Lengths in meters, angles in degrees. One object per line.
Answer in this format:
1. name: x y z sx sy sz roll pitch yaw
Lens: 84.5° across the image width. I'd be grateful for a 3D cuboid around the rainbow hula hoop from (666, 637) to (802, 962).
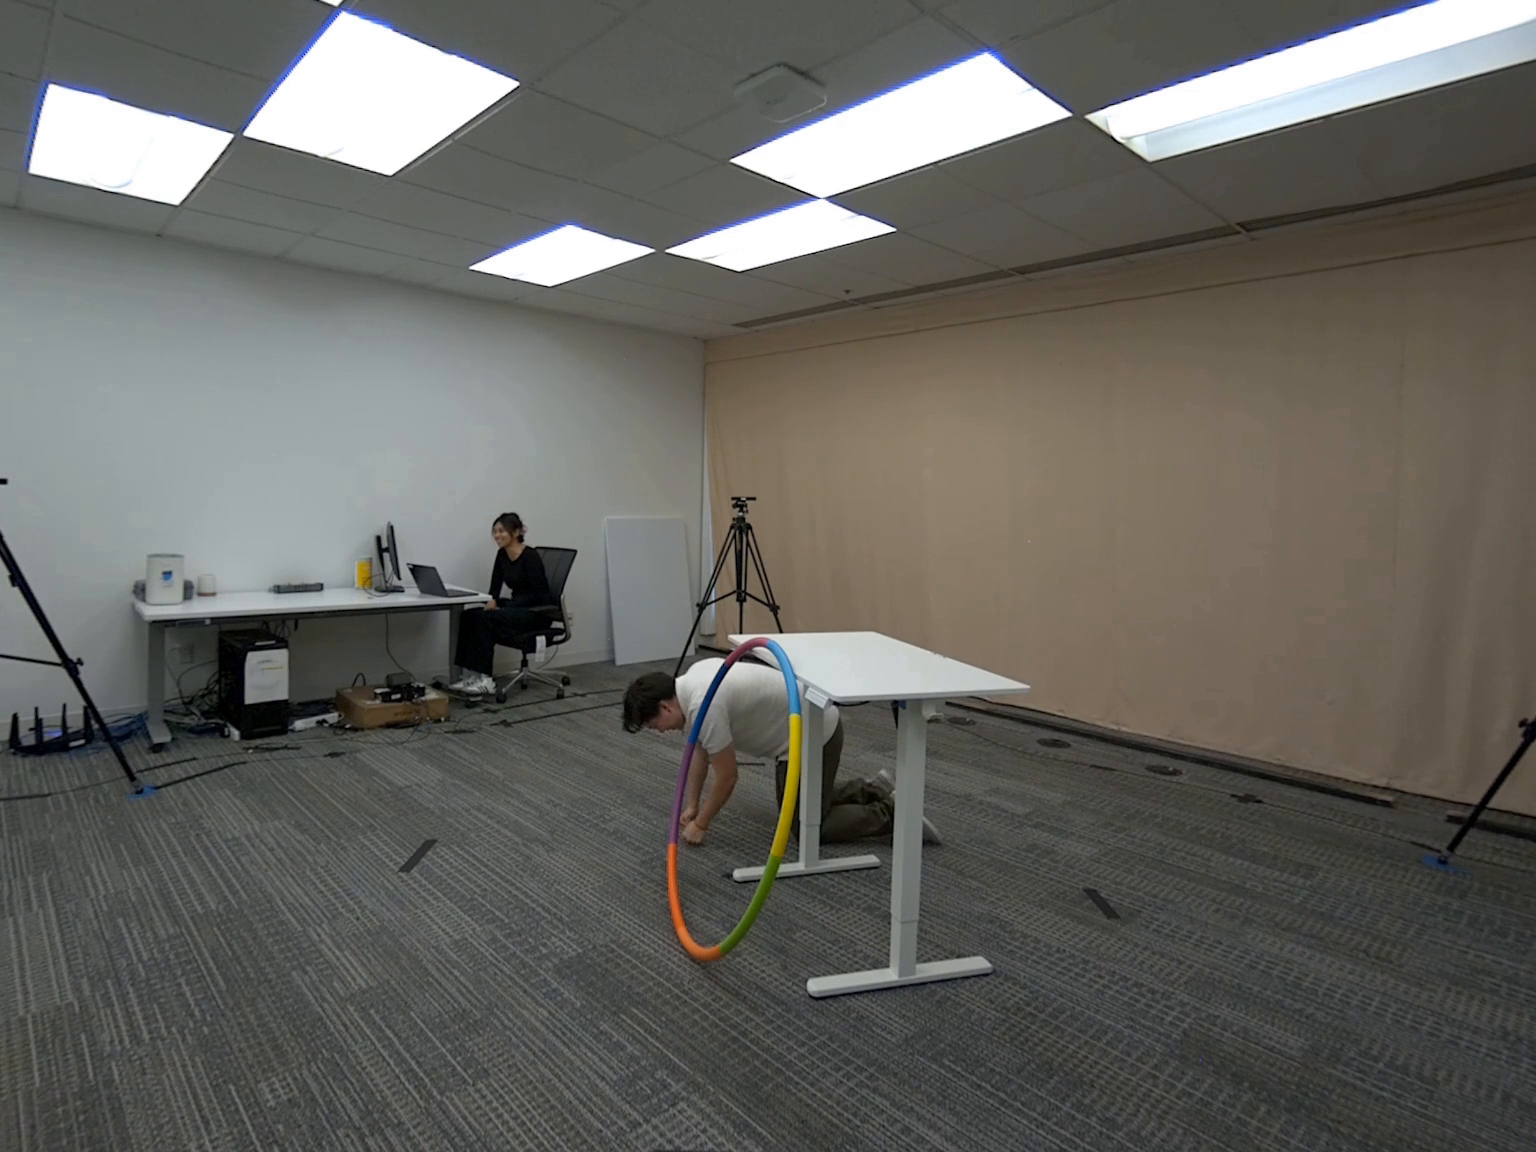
1. rainbow hula hoop: -0.144 0.683 2.653 0.035 0.979 0.995 18 -1 -20
